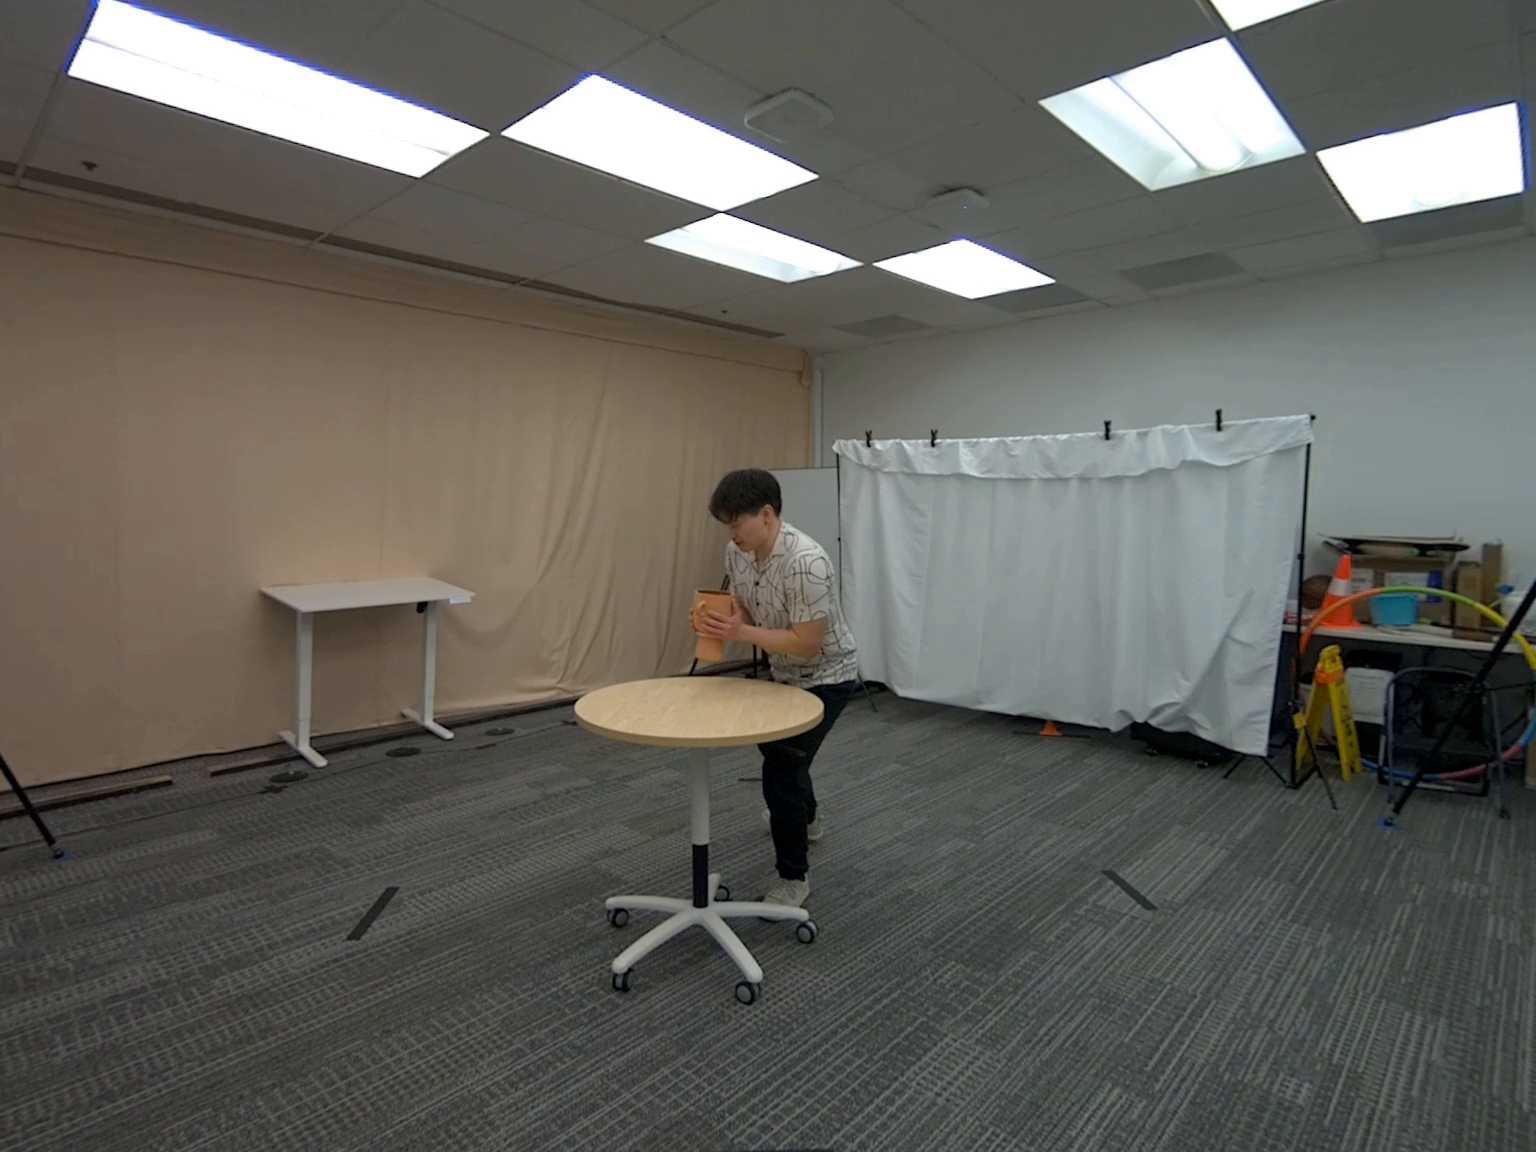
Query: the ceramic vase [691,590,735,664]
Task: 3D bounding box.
[{"bbox_3d":[-0.182,0.175,2.814,0.155,0.219,0.138,4,4,-24],"label":"ceramic vase"}]
